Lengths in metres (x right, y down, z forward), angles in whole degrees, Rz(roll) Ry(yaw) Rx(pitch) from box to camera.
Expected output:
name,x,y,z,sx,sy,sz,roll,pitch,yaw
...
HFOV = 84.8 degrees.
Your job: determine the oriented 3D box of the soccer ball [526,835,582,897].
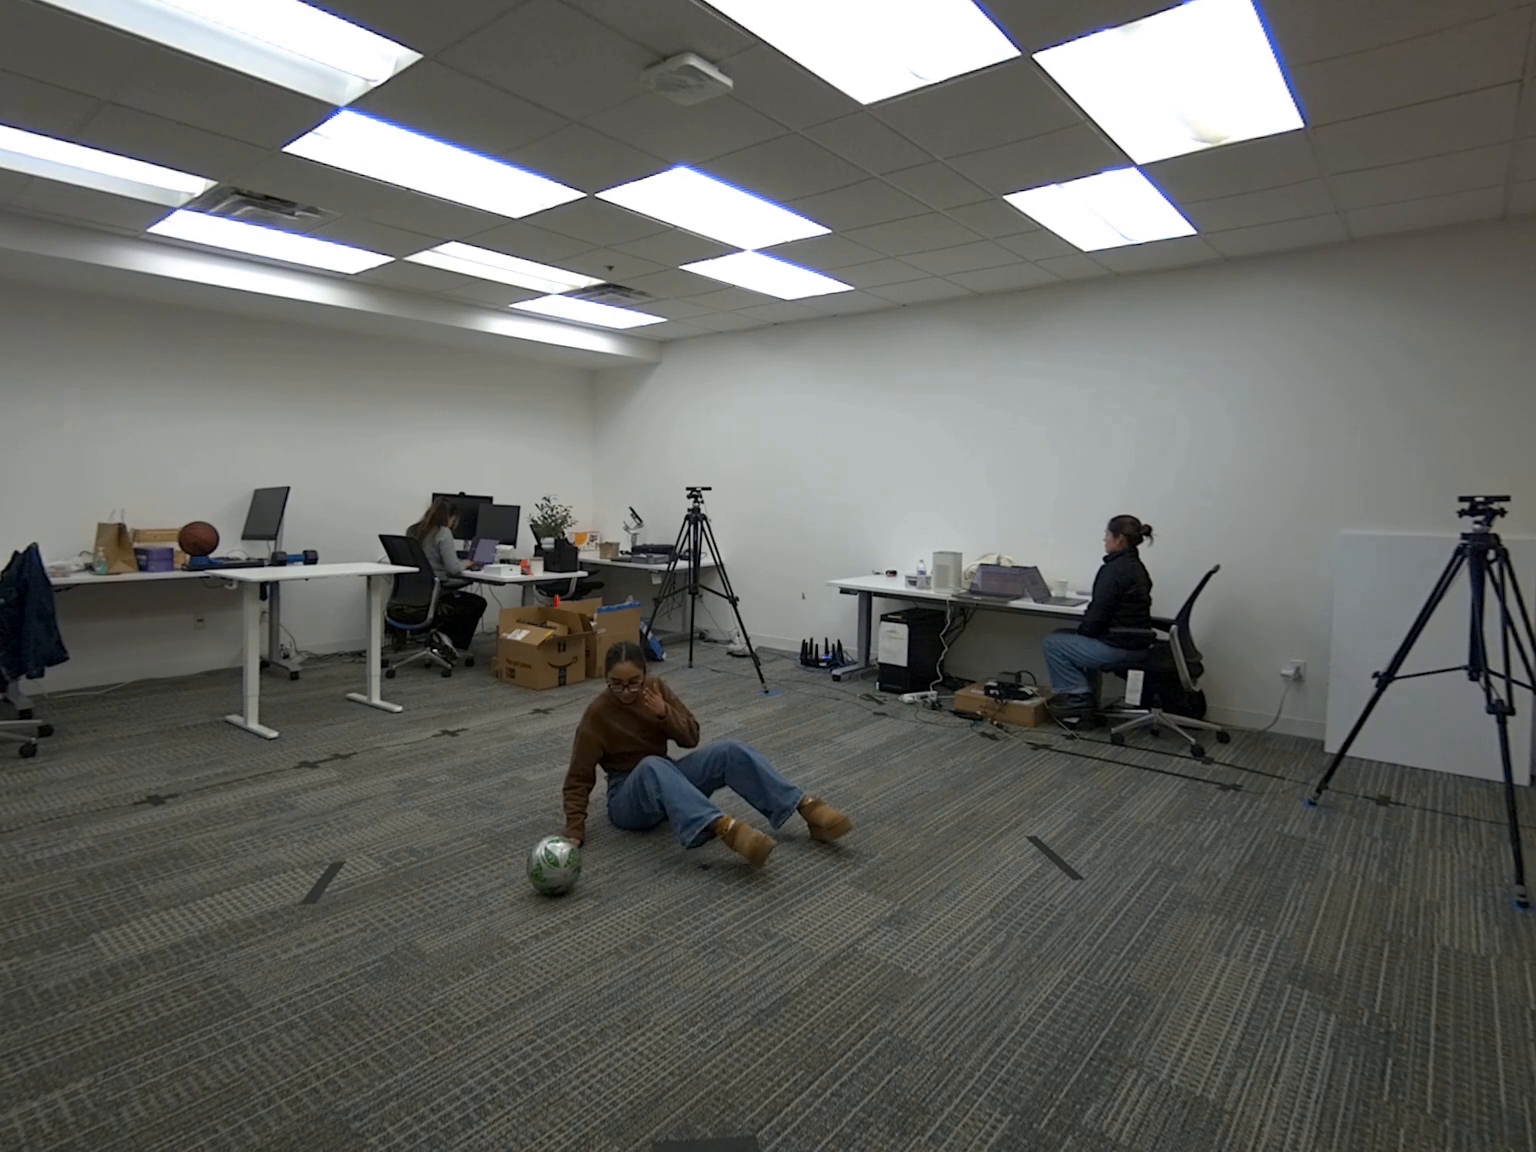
name,x,y,z,sx,sy,sz,roll,pitch,yaw
soccer ball,-0.742,0.986,2.910,0.187,0.187,0.188,1,4,-2
